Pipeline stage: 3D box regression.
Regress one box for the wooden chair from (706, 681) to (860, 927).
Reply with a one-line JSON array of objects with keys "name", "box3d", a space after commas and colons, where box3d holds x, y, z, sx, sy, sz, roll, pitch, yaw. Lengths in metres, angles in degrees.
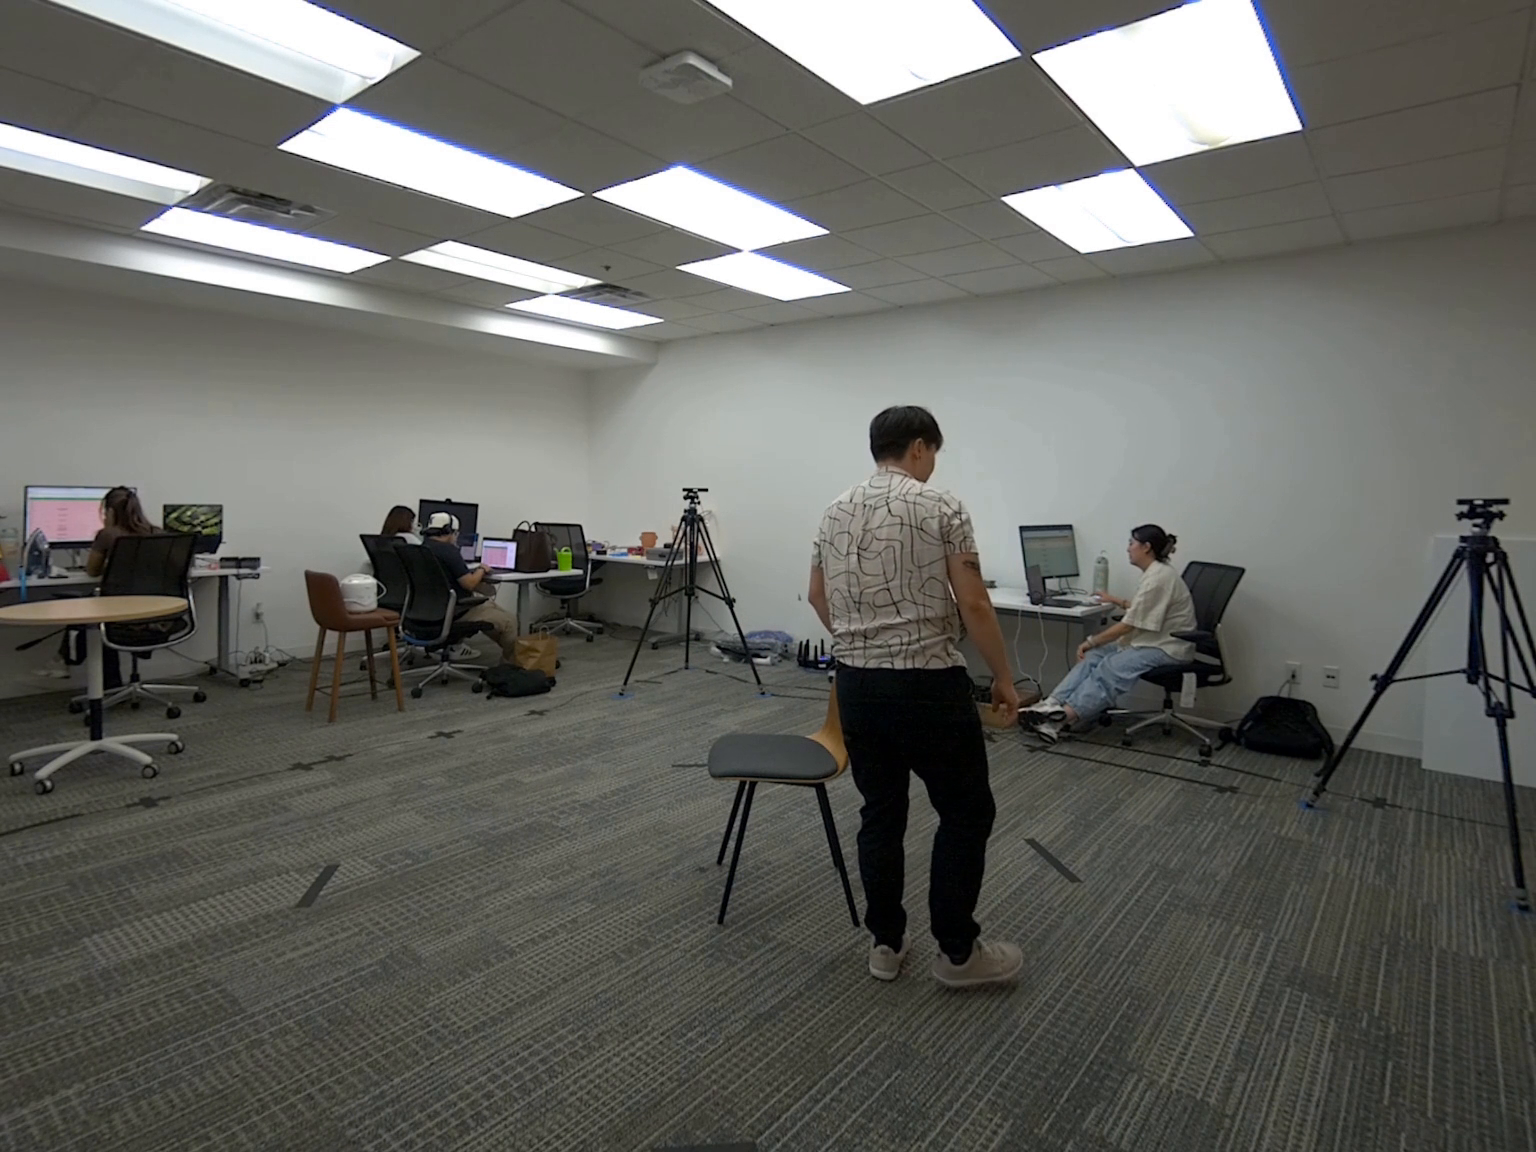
[{"name": "wooden chair", "box3d": [0.048, 0.667, 2.911, 0.522, 0.875, 0.481, 5, 4, -3]}]
